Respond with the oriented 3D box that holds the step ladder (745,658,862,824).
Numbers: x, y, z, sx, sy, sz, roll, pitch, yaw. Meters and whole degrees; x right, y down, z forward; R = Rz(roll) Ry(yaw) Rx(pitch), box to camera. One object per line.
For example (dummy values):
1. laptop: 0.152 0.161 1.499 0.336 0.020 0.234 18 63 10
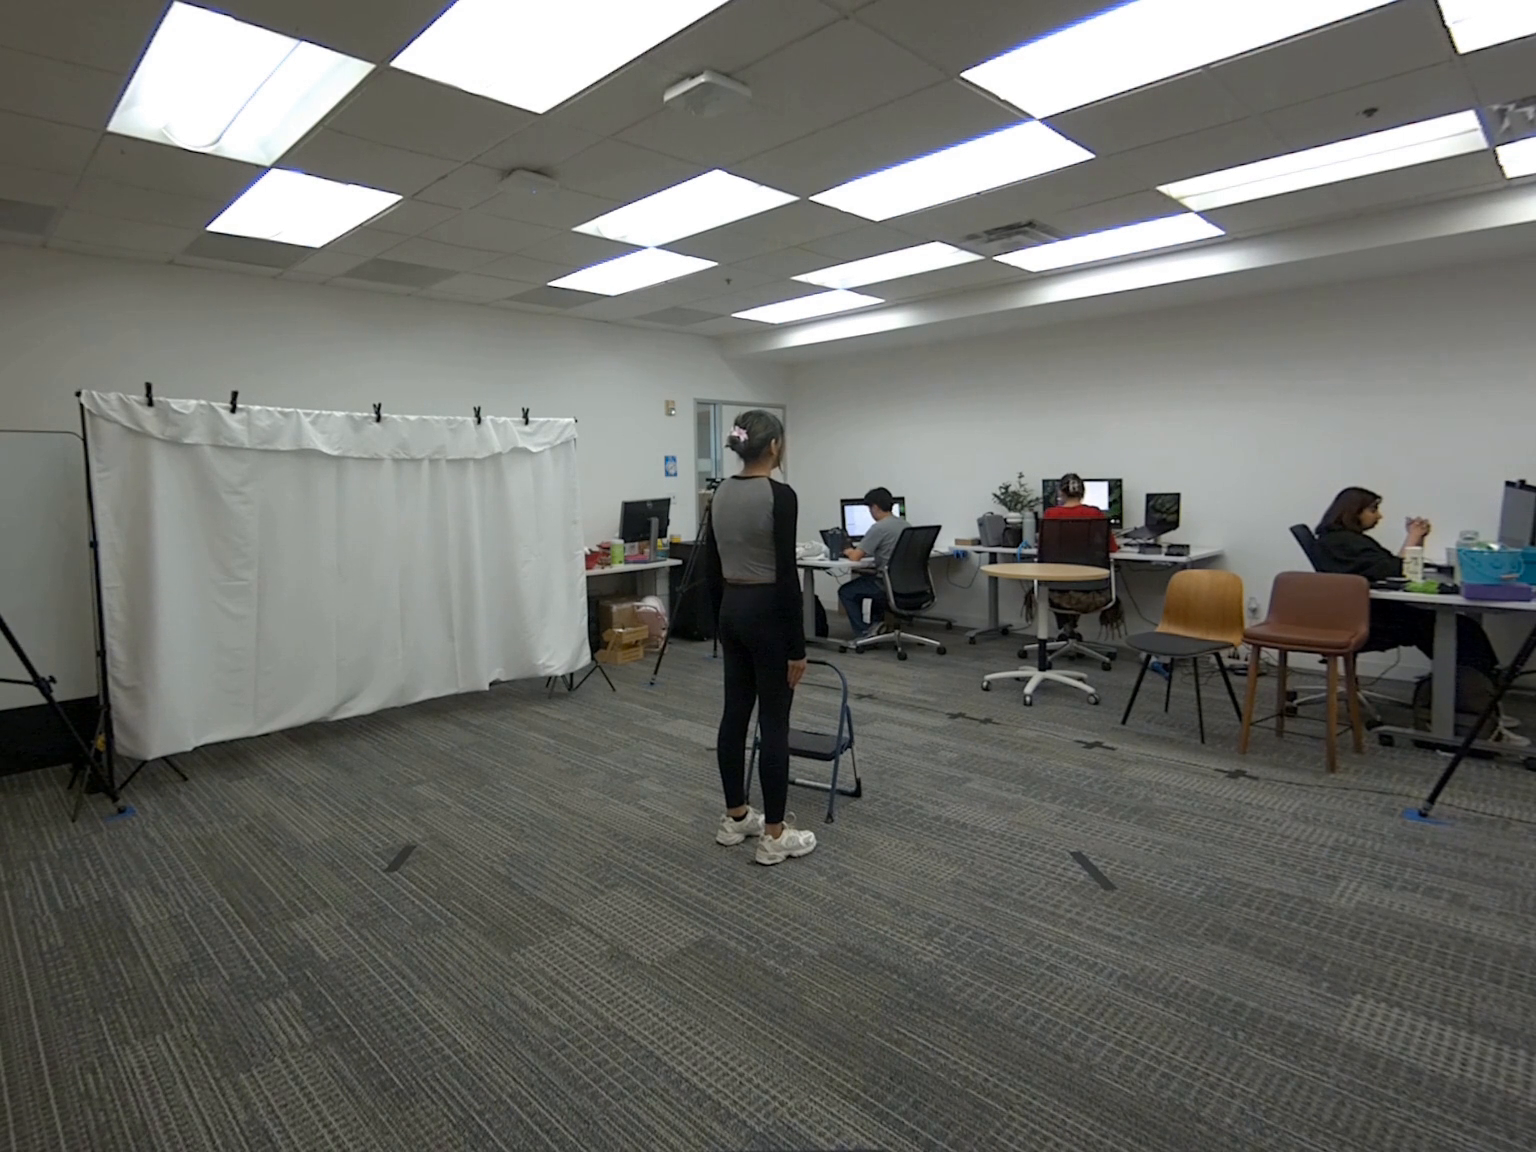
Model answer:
1. step ladder: 0.152 0.671 3.684 0.442 0.604 0.341 3 5 31
